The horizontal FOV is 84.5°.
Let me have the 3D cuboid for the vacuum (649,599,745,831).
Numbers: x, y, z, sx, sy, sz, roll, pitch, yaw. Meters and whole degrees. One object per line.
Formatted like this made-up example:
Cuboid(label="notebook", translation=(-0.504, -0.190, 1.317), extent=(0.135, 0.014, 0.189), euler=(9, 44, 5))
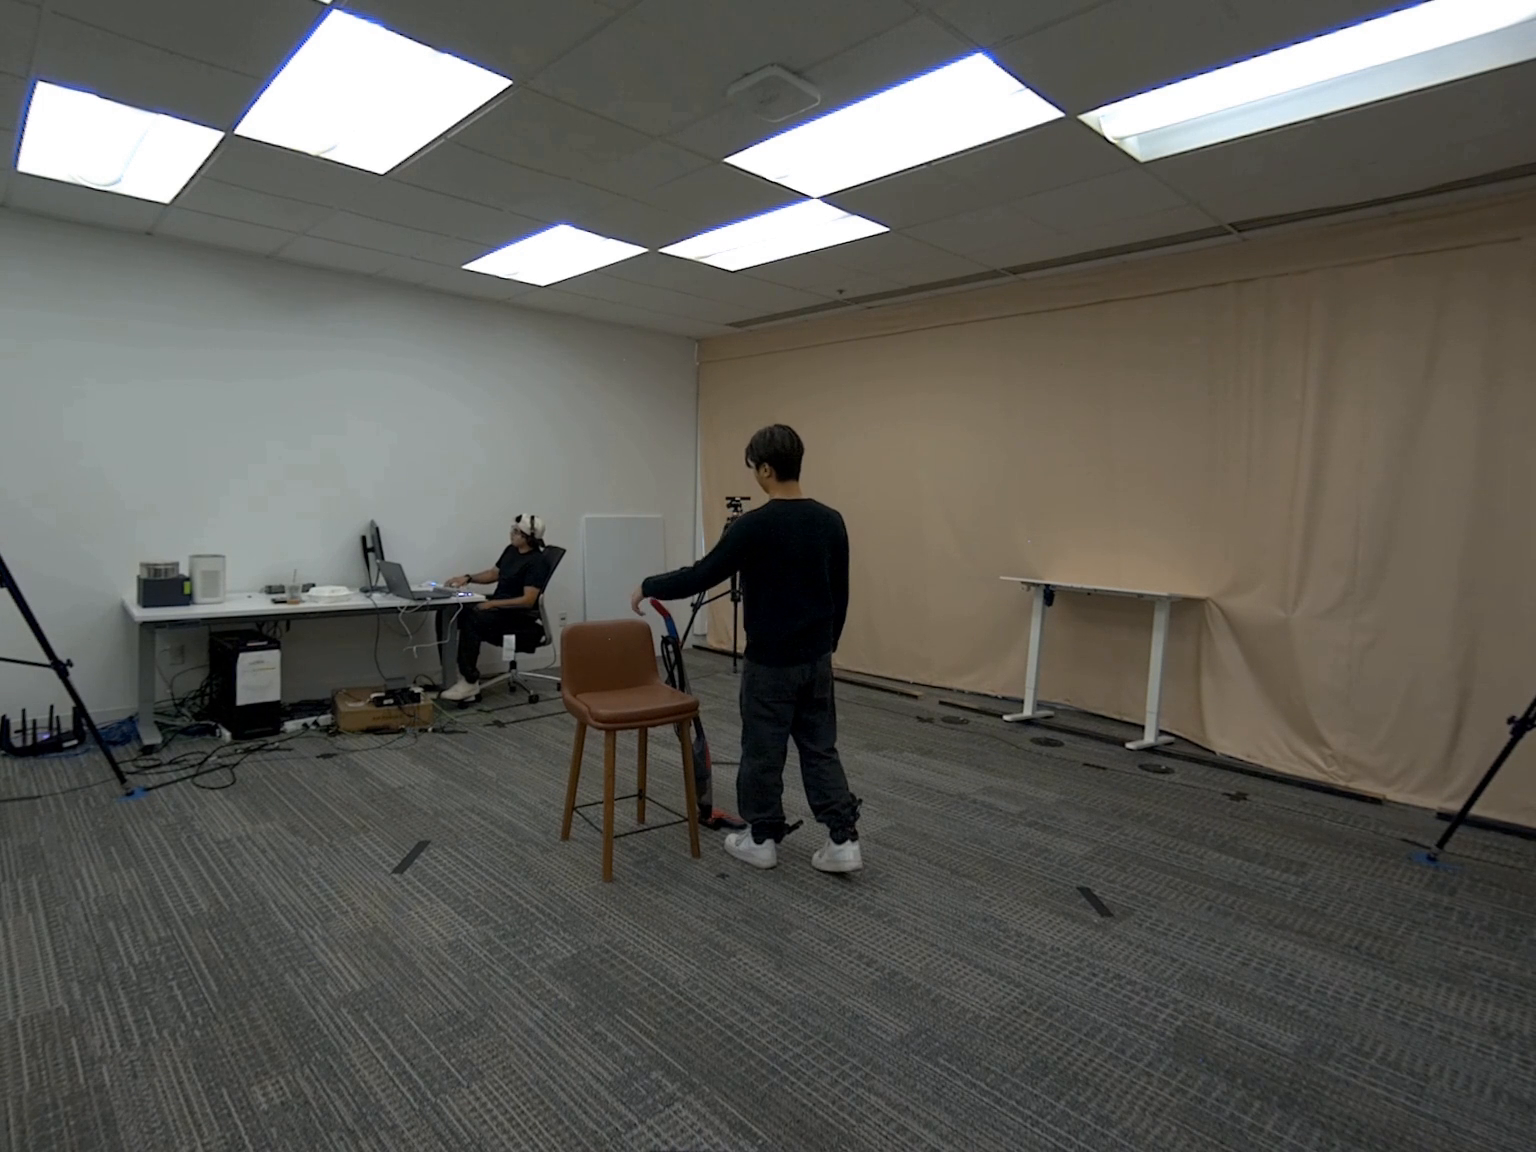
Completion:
Cuboid(label="vacuum", translation=(-0.356, 0.582, 3.498), extent=(0.142, 1.036, 0.259), euler=(-26, 18, -39))
